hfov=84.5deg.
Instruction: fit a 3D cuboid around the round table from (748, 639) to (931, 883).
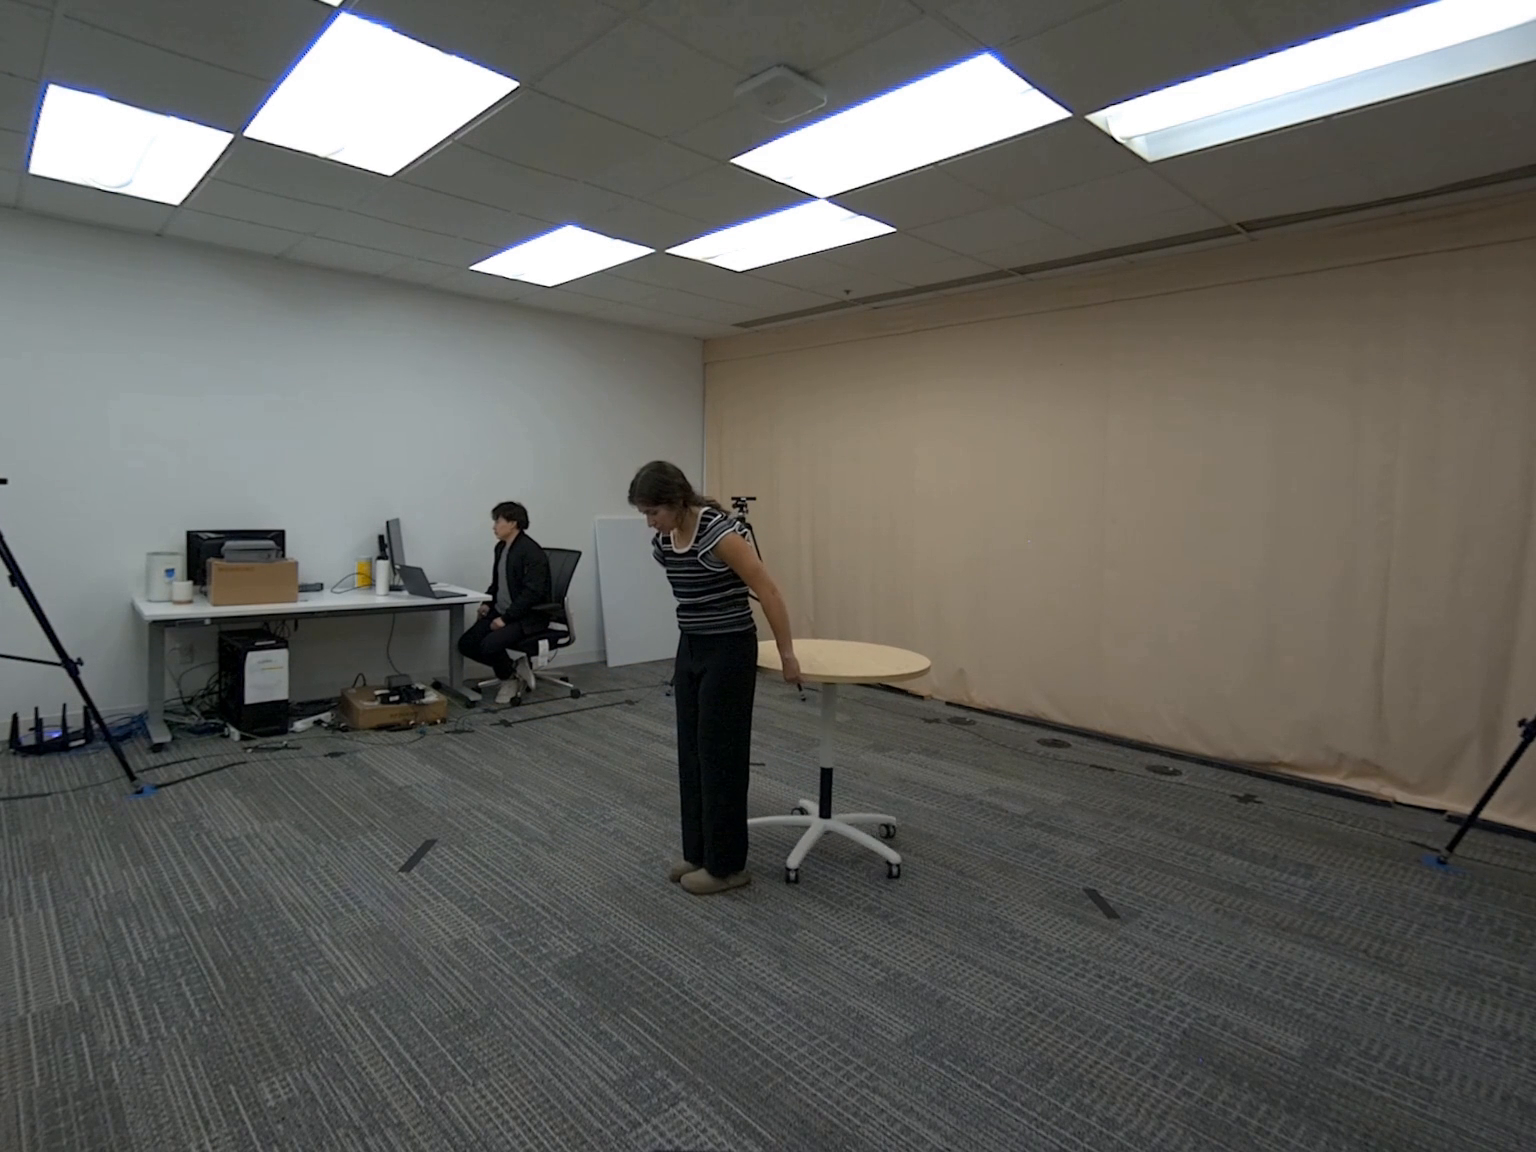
[{"bbox_3d":[0.214,0.701,3.309,0.784,0.784,0.788,2,4,-1],"label":"round table"}]
